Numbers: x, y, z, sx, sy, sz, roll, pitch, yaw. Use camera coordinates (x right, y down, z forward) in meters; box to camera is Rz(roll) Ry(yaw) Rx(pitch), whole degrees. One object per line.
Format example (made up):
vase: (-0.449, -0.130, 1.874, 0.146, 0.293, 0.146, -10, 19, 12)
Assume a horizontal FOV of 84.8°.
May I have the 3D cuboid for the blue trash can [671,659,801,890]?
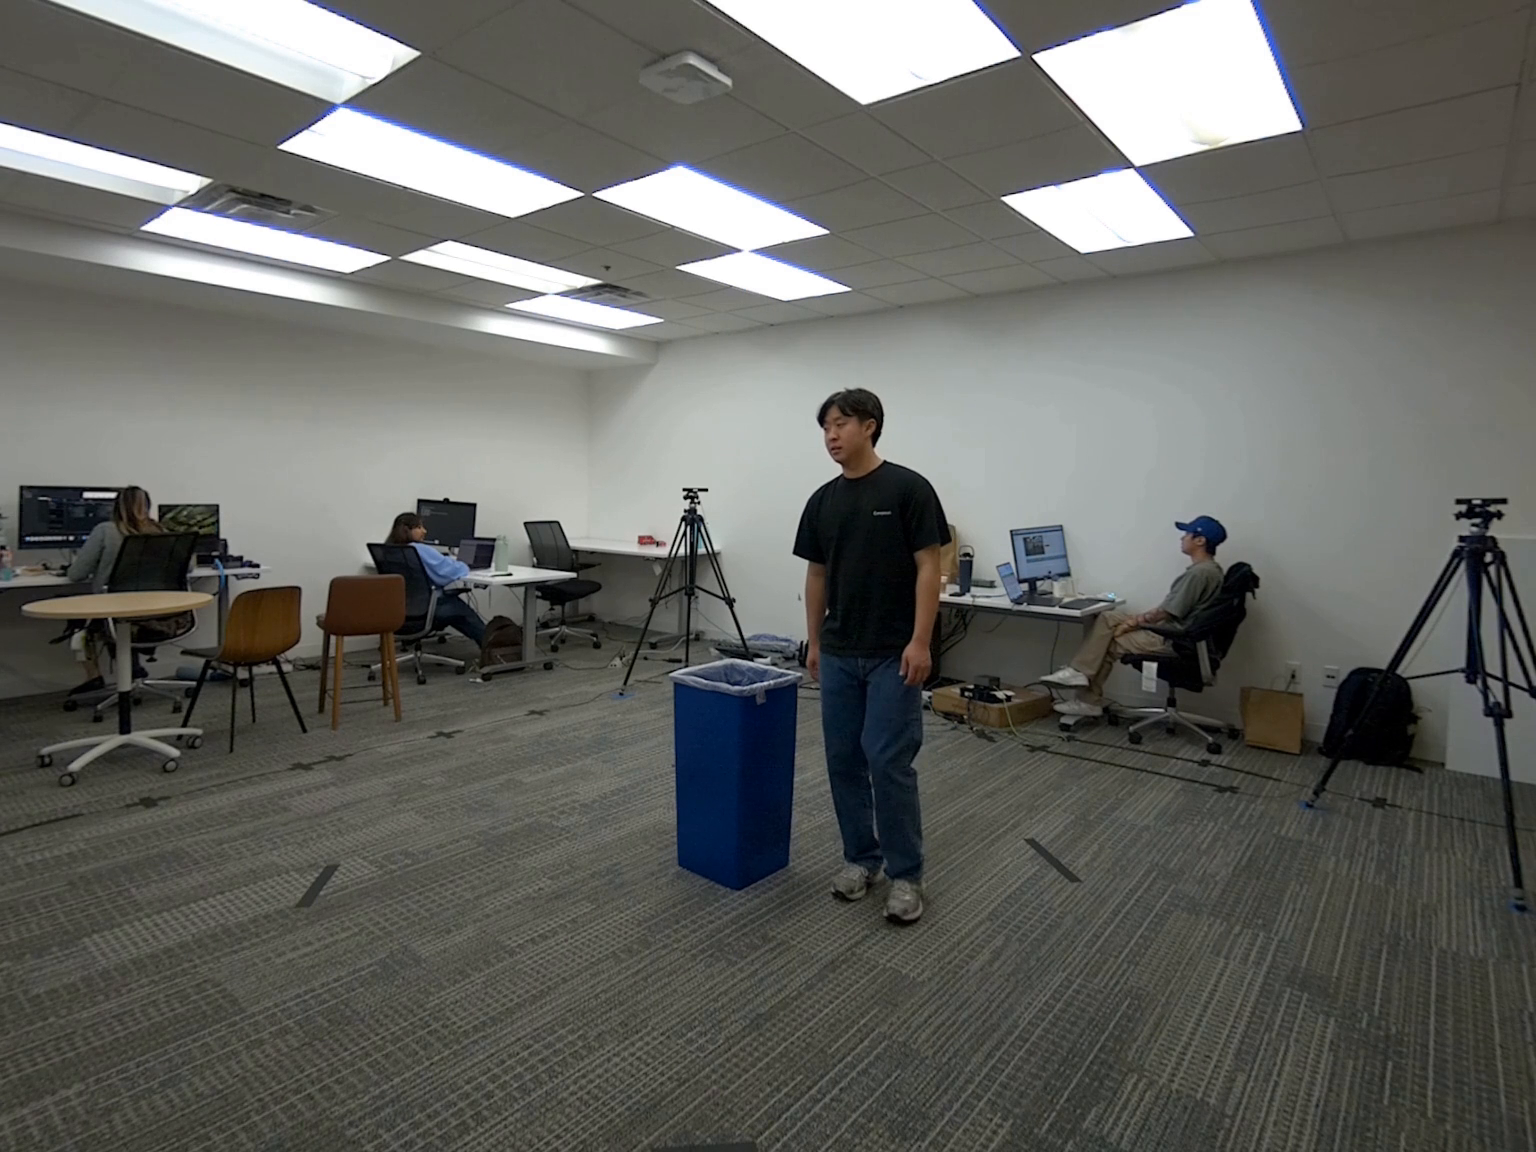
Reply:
blue trash can: (-0.137, 0.709, 3.138, 0.387, 0.712, 0.366, 4, 4, 40)
